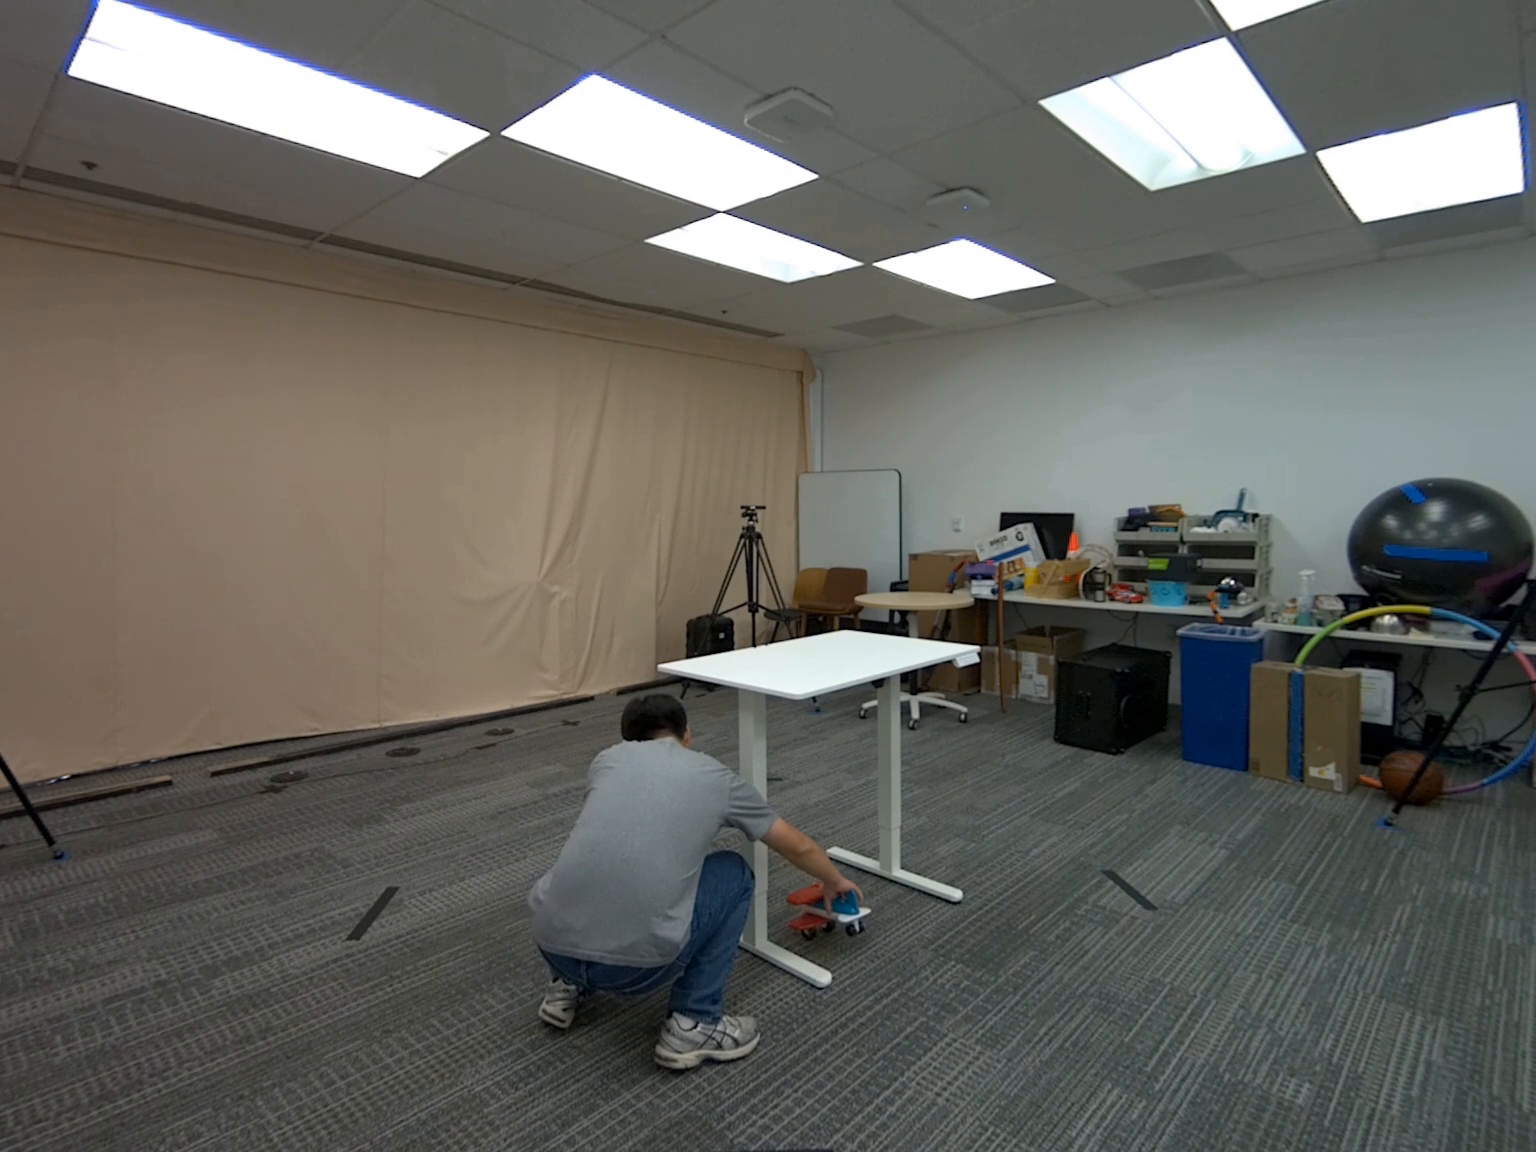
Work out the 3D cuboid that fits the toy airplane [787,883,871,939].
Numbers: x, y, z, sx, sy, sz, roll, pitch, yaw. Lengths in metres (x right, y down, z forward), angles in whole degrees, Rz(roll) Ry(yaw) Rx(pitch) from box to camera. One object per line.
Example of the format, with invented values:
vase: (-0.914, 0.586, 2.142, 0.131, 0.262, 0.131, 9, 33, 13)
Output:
toy airplane: (0.206, 1.061, 2.694, 0.263, 0.158, 0.243, -21, -16, 22)
